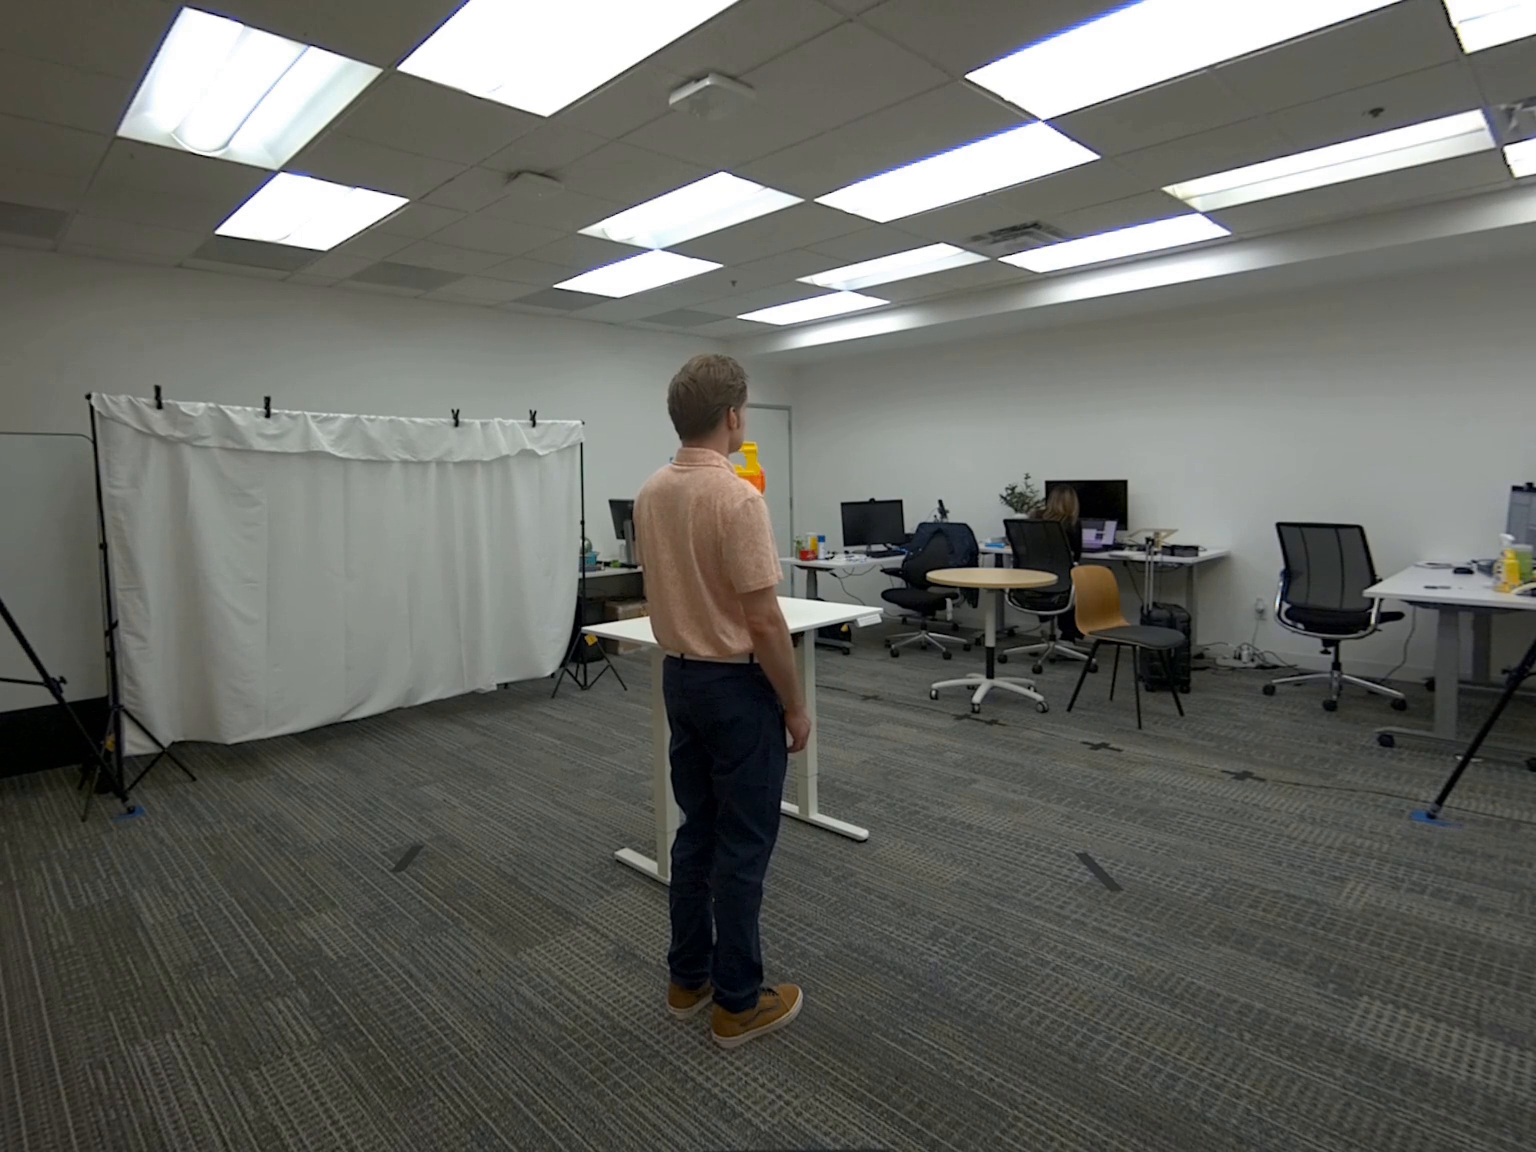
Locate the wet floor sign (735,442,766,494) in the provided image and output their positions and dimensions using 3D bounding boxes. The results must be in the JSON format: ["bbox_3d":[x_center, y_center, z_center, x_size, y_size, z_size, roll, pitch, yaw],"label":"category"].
[{"bbox_3d":[-0.127,-0.164,3.156,0.284,0.643,0.289,-2,4,7],"label":"wet floor sign"}]
